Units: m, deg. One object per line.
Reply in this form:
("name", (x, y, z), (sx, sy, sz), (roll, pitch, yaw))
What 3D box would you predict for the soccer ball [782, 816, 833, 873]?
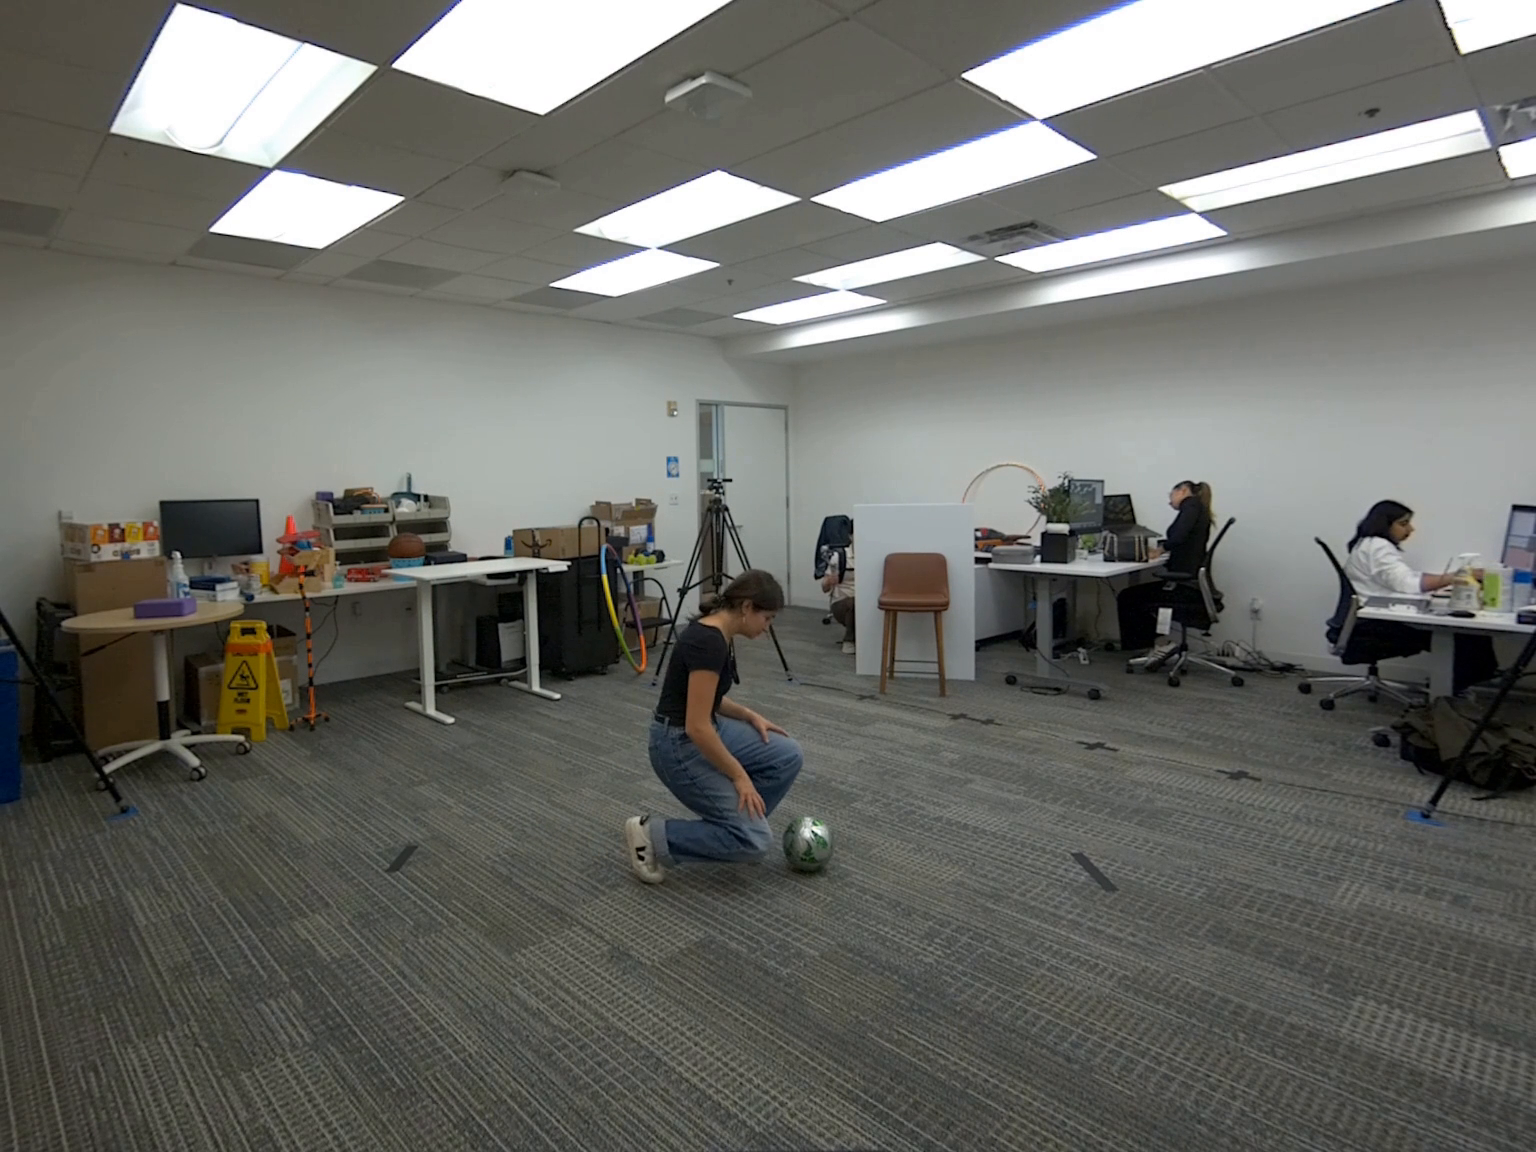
("soccer ball", (0.147, 0.952, 3.055), (0.187, 0.187, 0.188), (-1, 5, -2))
